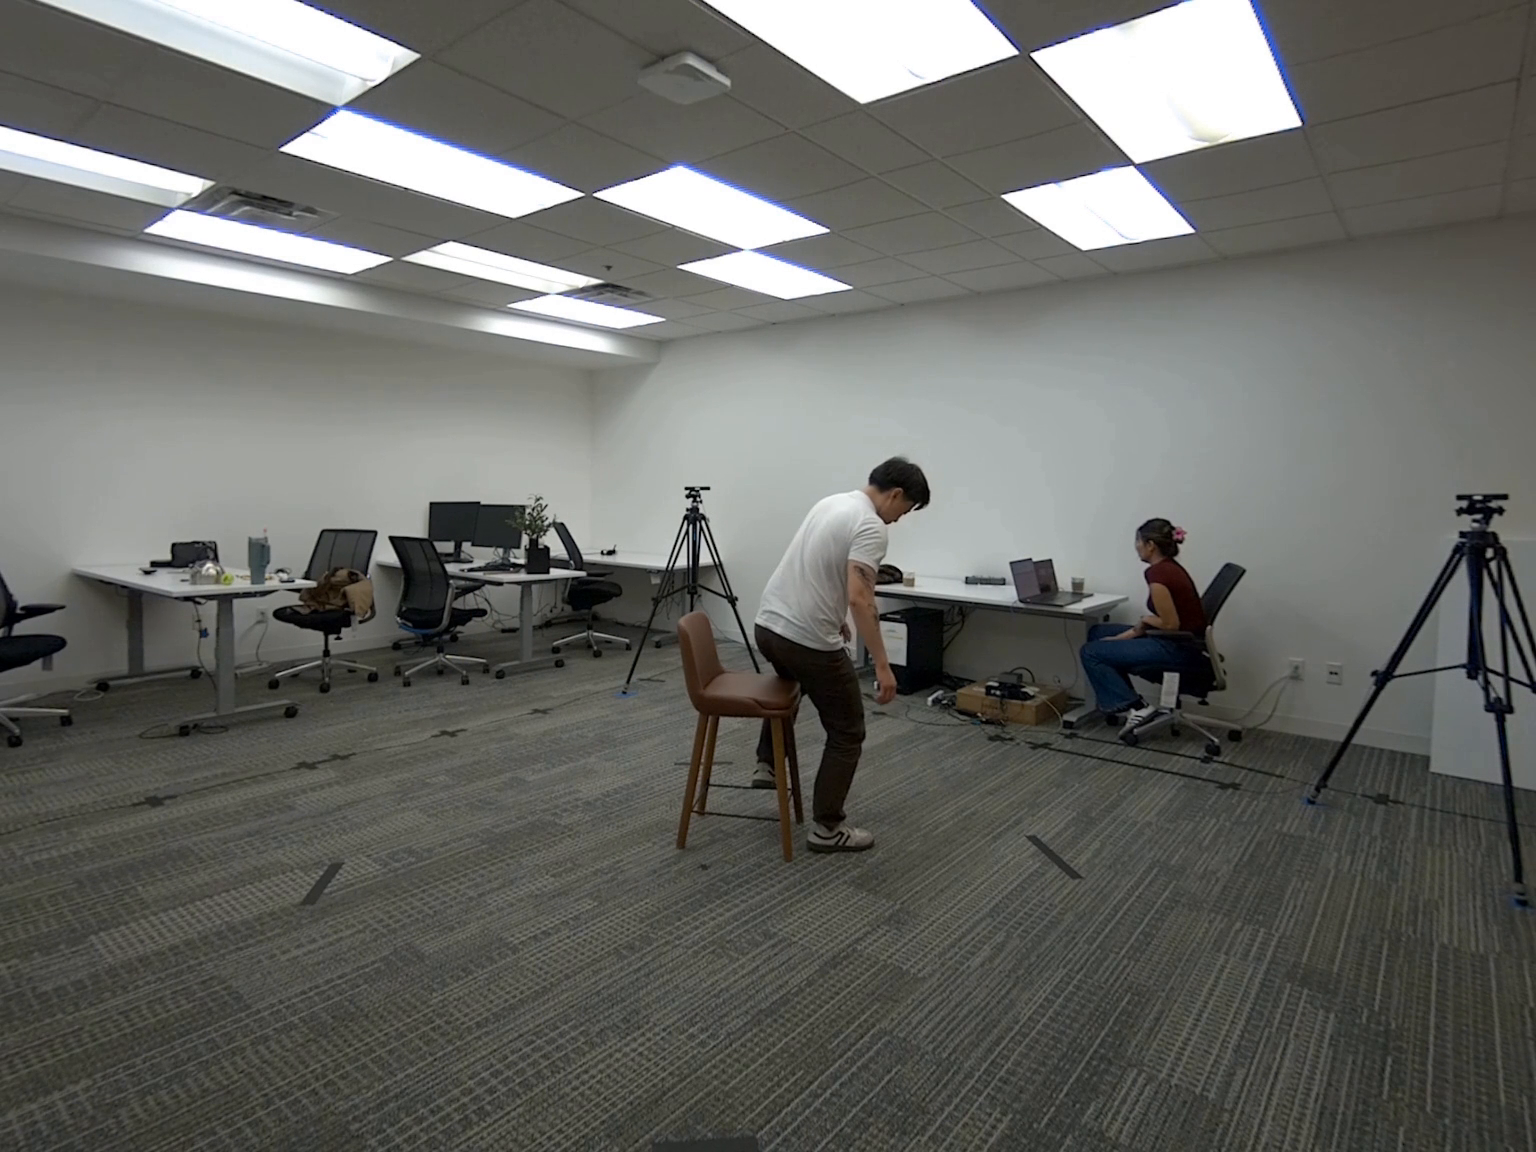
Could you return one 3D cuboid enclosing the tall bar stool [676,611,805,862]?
[{"bbox_3d":[-0.112,0.605,3.396,0.474,0.888,0.452,0,2,11],"label":"tall bar stool"}]
